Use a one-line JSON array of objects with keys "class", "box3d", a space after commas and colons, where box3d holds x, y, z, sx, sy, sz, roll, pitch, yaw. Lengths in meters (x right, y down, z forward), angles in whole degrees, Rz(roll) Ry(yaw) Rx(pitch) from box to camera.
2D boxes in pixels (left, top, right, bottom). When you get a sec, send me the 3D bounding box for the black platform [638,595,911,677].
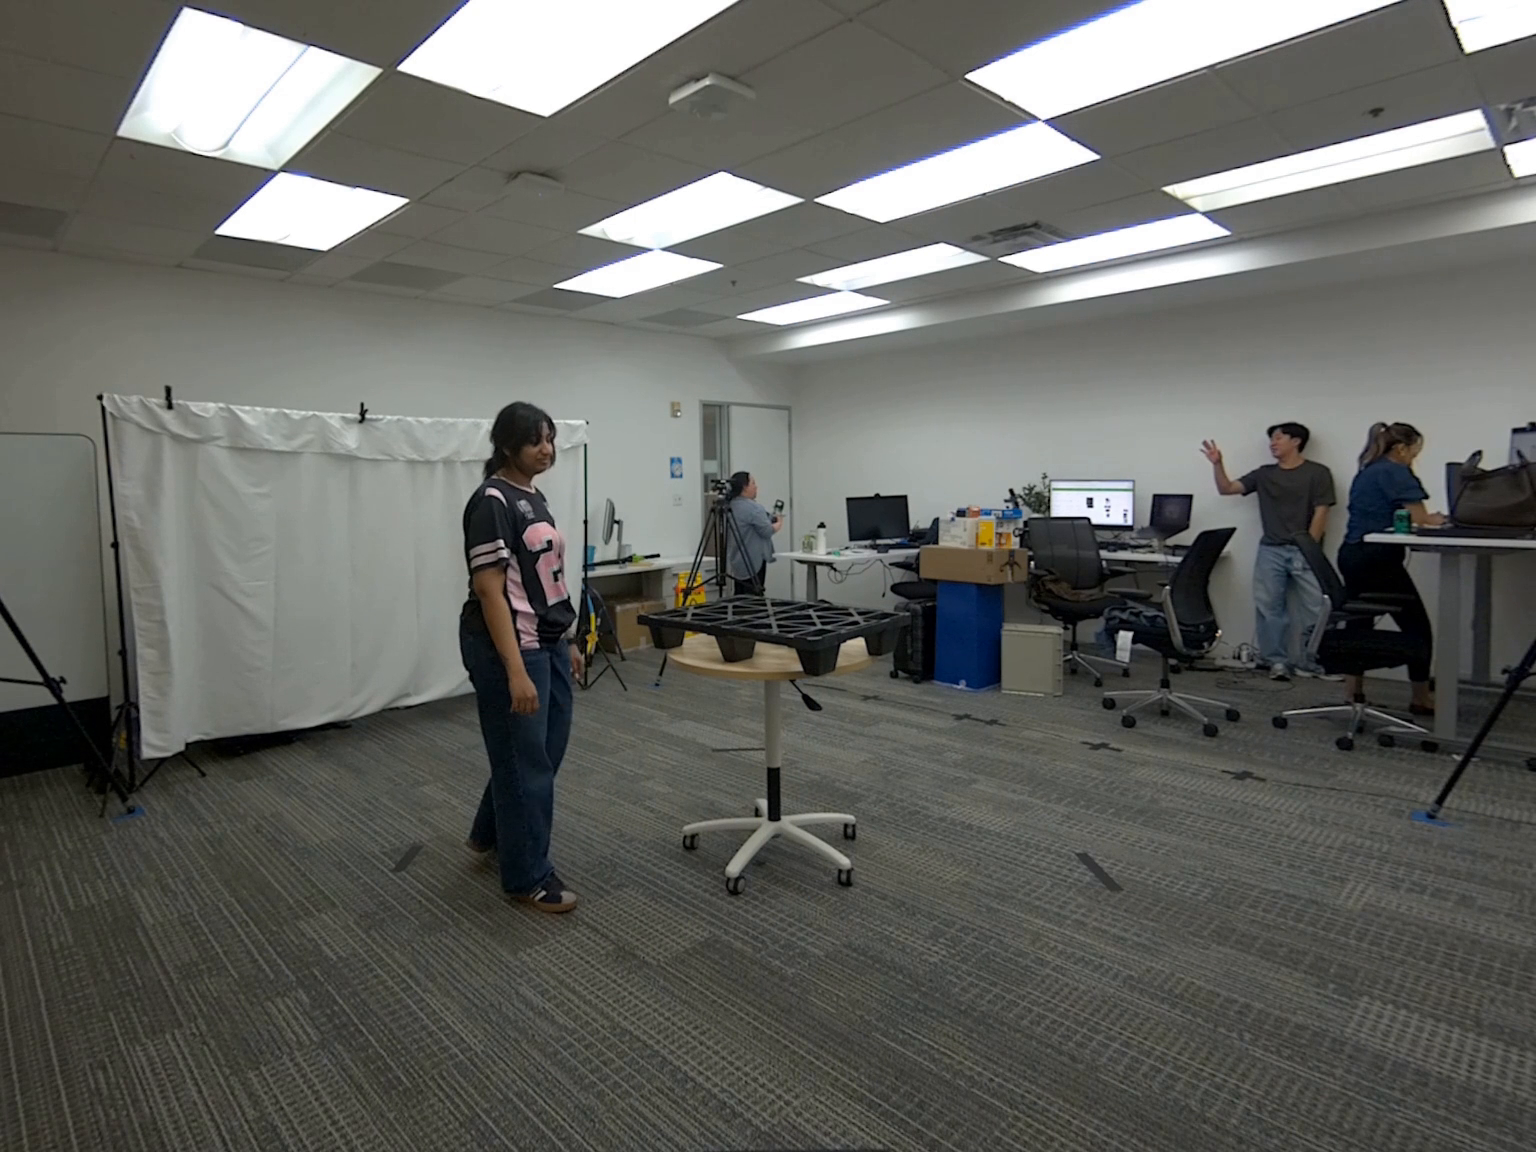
[{"class": "black platform", "box3d": [0.015, 0.204, 3.055, 0.830, 0.142, 0.590, 4, 9, 41]}]
